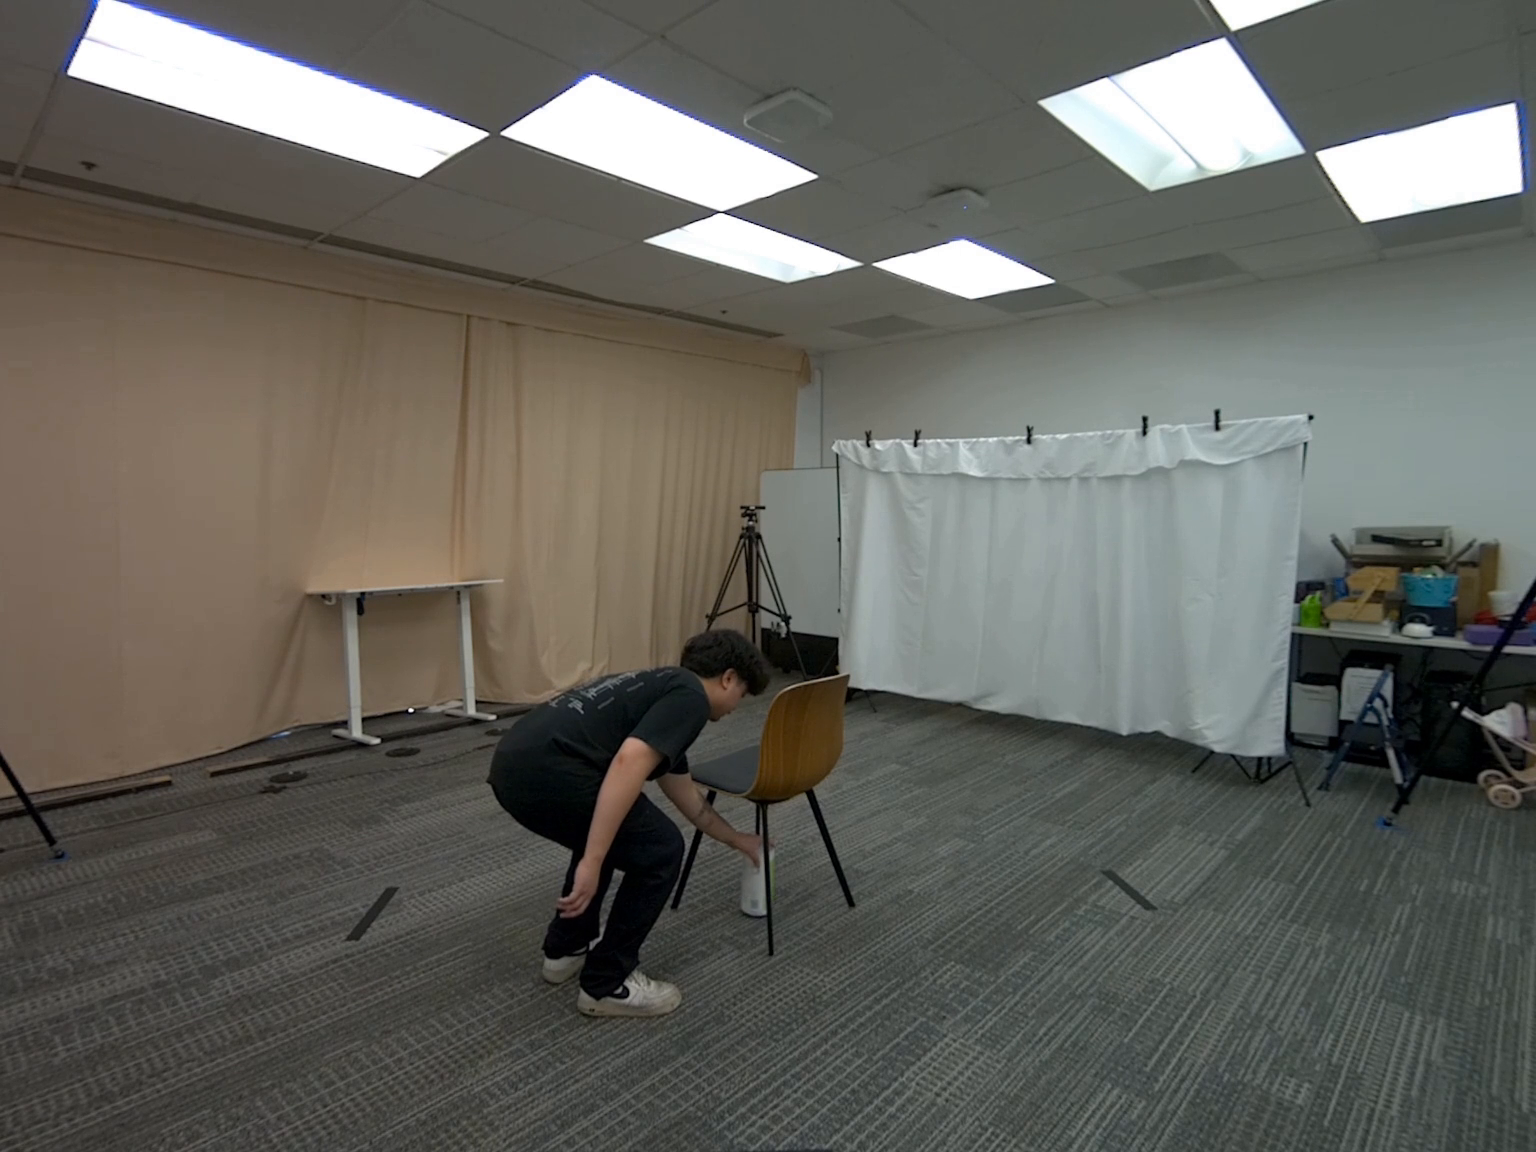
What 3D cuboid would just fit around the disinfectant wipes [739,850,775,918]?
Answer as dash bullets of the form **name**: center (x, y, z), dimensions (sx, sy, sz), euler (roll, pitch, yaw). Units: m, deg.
- **disinfectant wipes**: center (-0.027, 1.049, 2.858), dimensions (0.117, 0.217, 0.118), euler (3, 5, -2)
